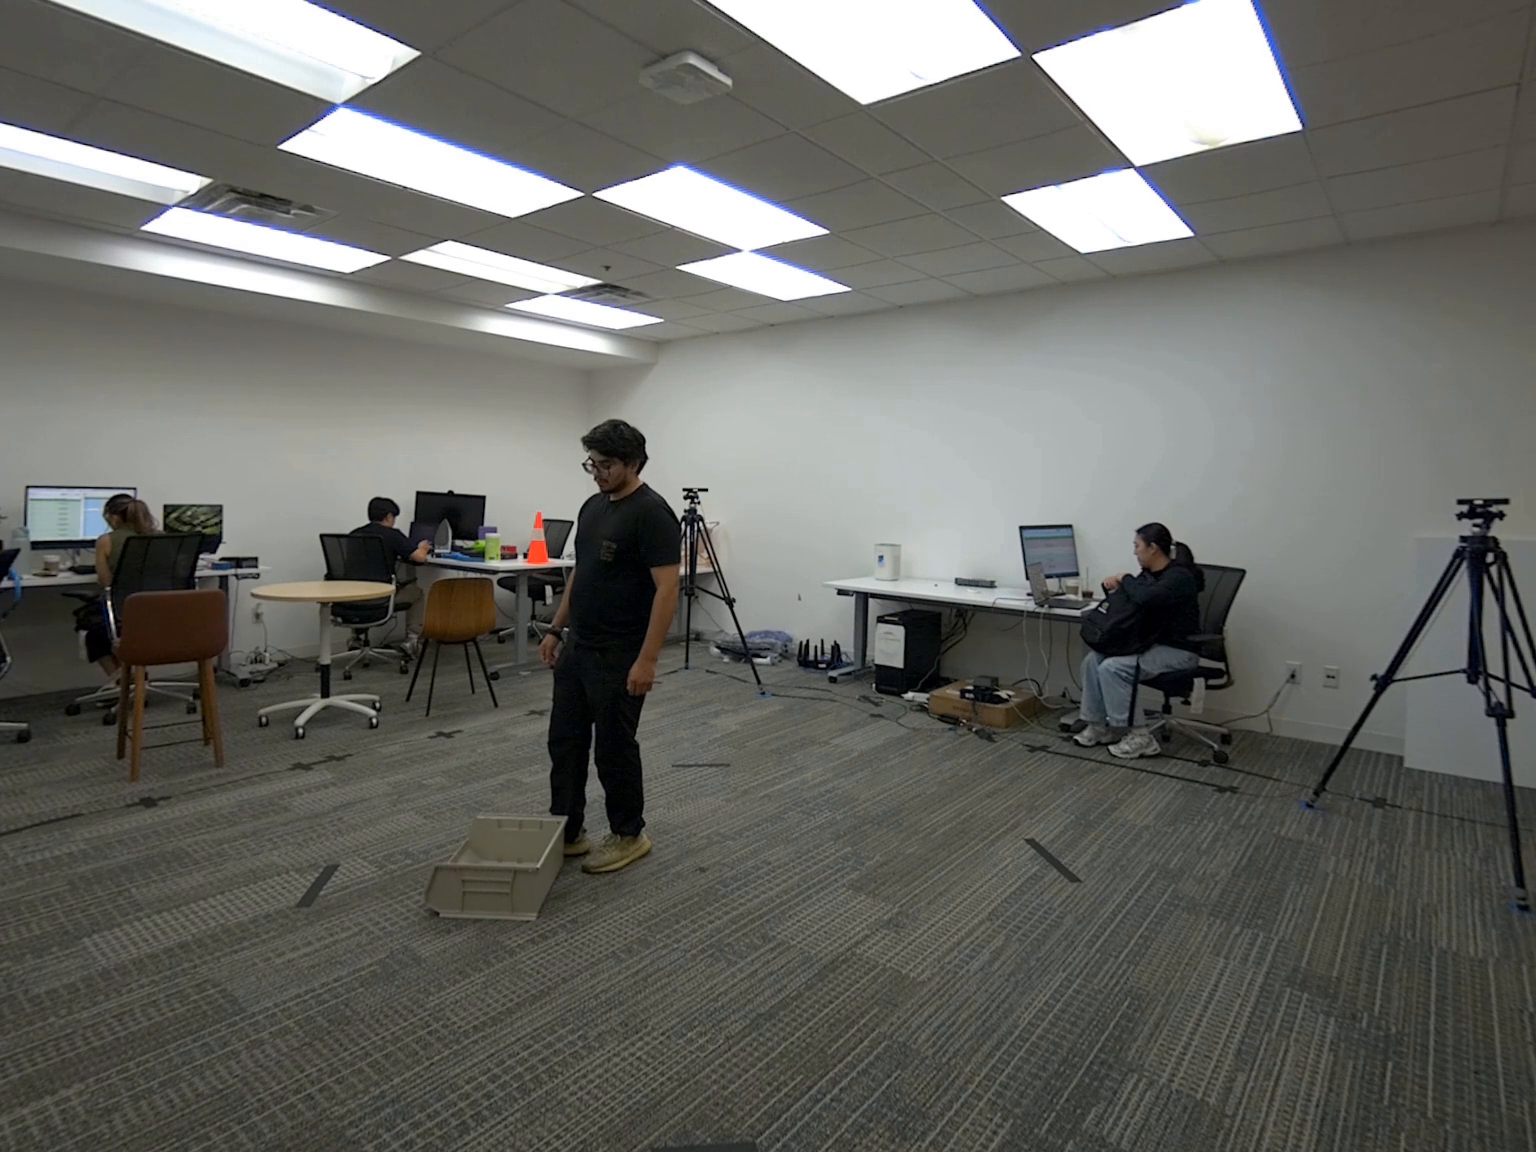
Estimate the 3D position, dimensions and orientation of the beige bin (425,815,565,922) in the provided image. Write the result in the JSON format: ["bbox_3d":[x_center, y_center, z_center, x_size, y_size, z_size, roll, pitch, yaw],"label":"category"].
[{"bbox_3d":[-0.932,0.991,2.917,0.378,0.188,0.423,2,5,0],"label":"beige bin"}]
